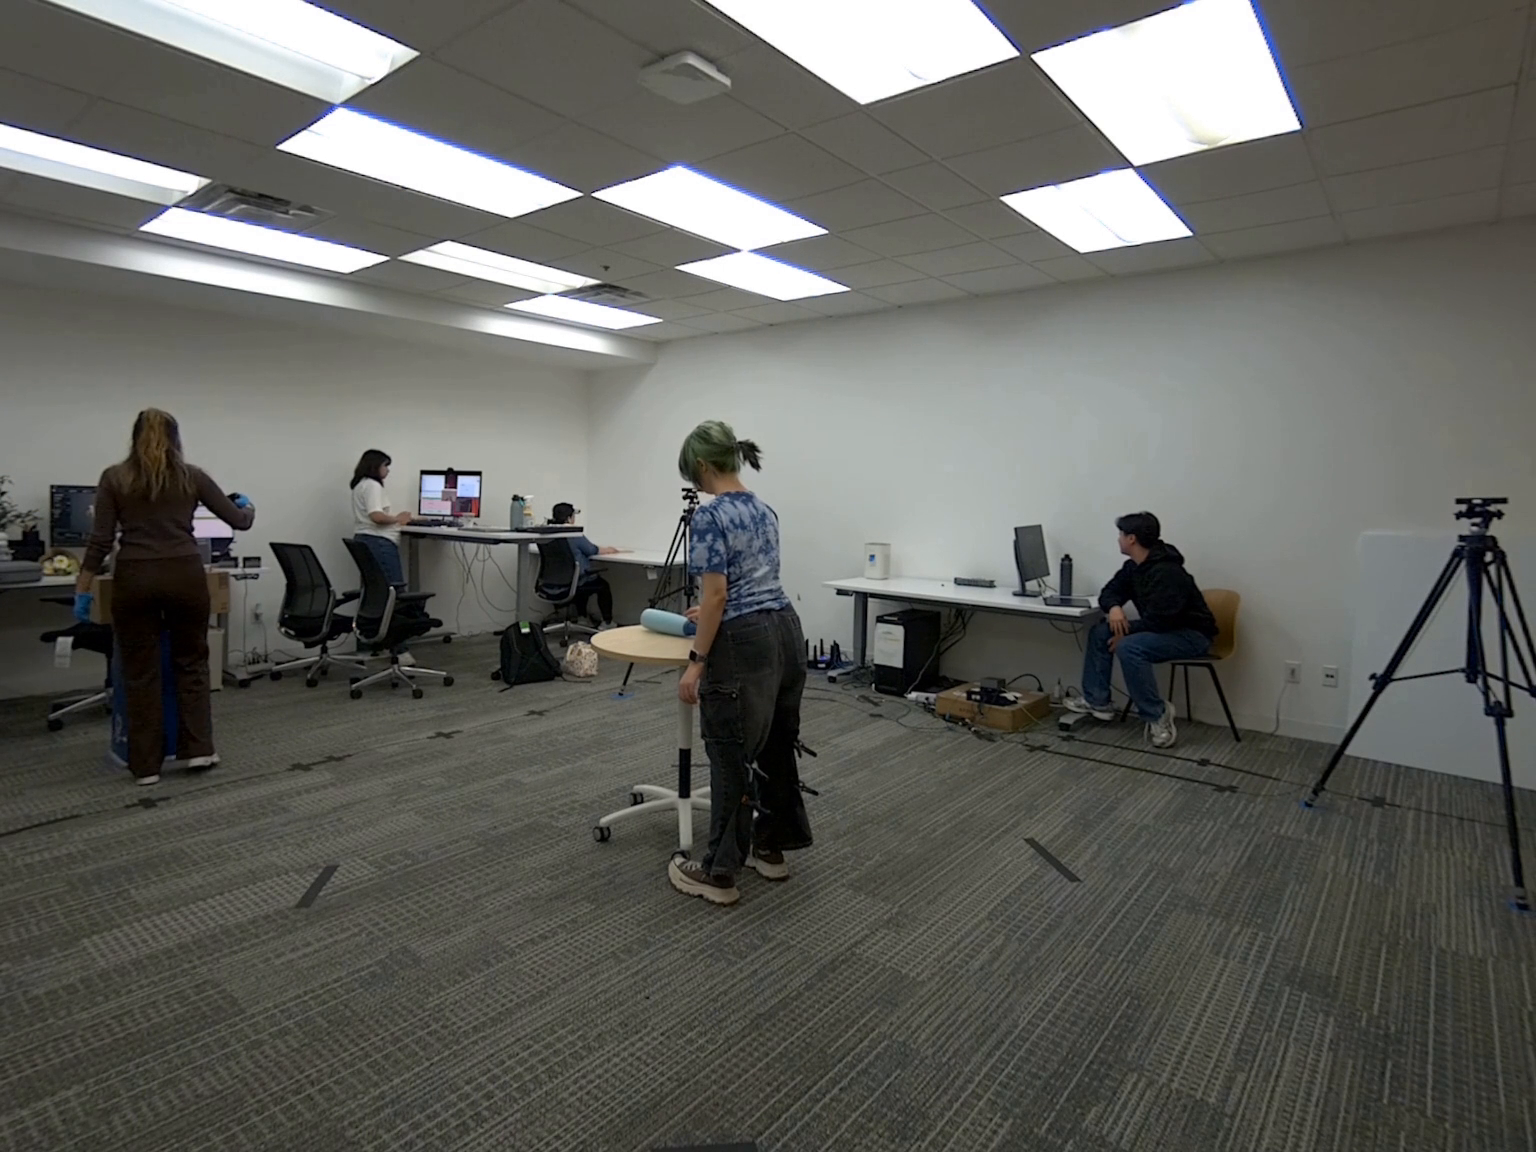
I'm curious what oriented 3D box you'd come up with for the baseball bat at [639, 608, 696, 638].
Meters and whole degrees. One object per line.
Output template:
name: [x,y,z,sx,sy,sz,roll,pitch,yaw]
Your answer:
baseball bat: [-0.314,0.216,3.459,0.562,0.088,0.086,9,9,39]
